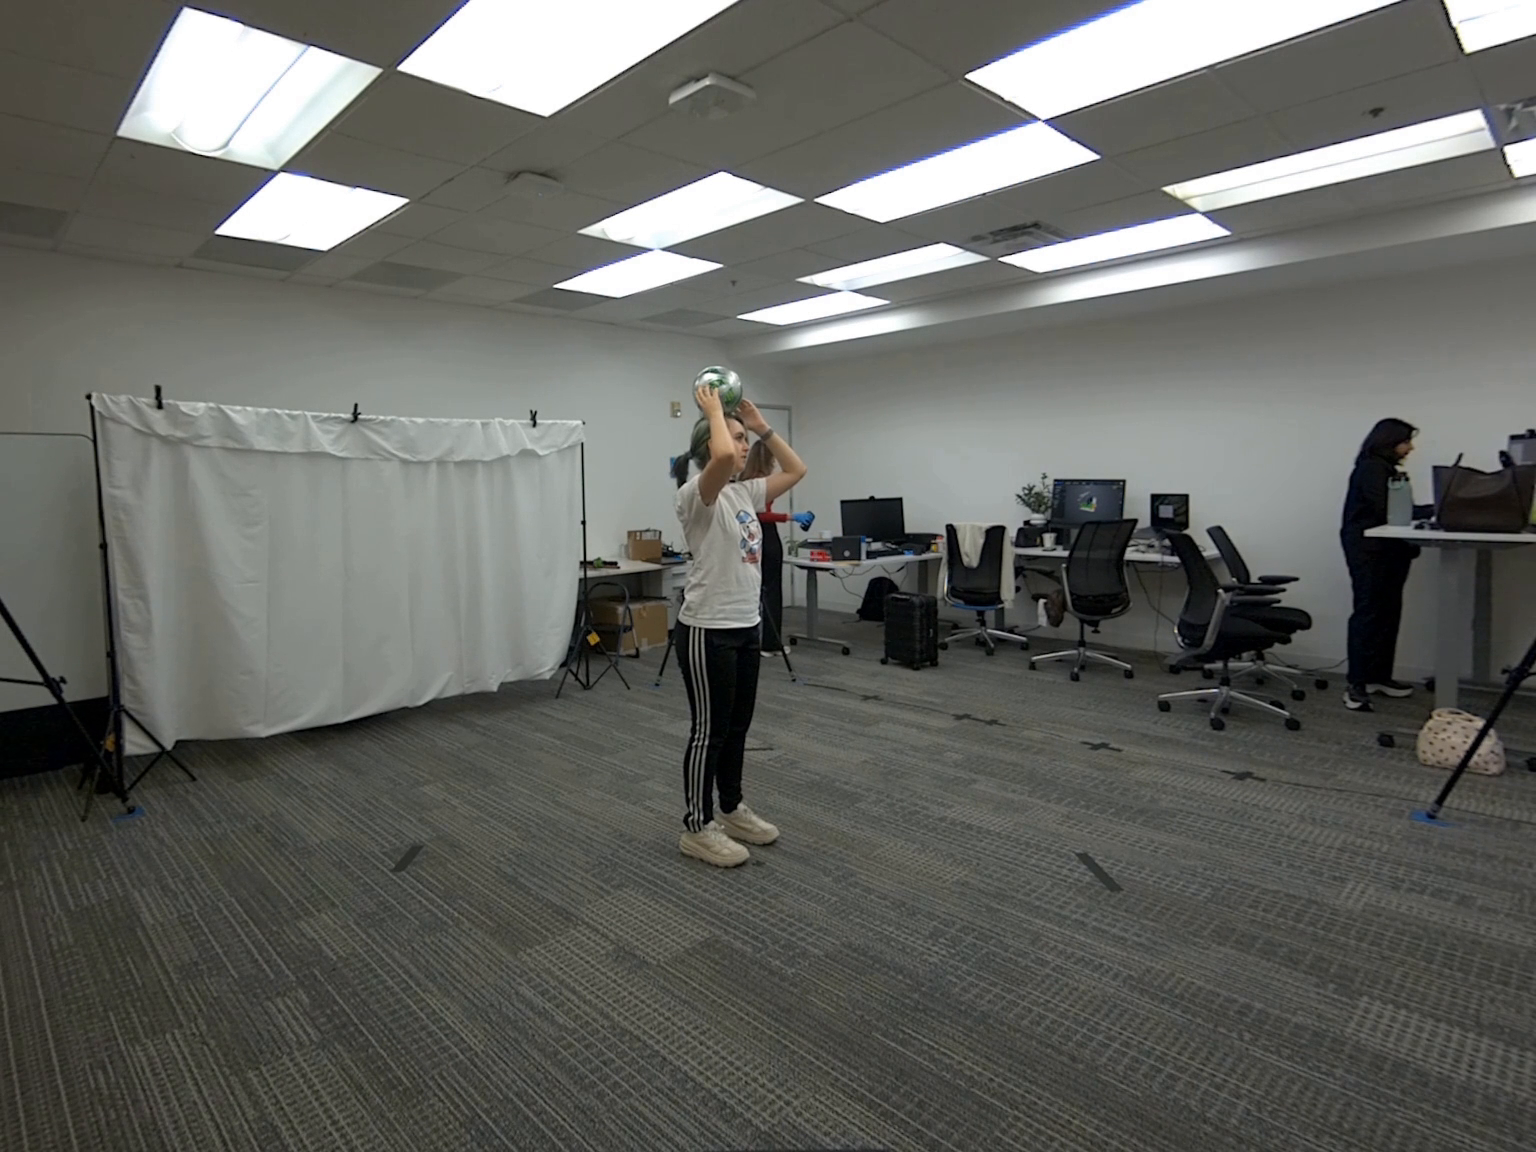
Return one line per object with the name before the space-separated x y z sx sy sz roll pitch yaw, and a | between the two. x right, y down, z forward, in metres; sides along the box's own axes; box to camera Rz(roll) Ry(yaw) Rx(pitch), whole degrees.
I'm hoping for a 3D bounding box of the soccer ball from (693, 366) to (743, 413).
soccer ball | -0.189 -0.683 3.169 0.187 0.187 0.188 -1 5 -2
